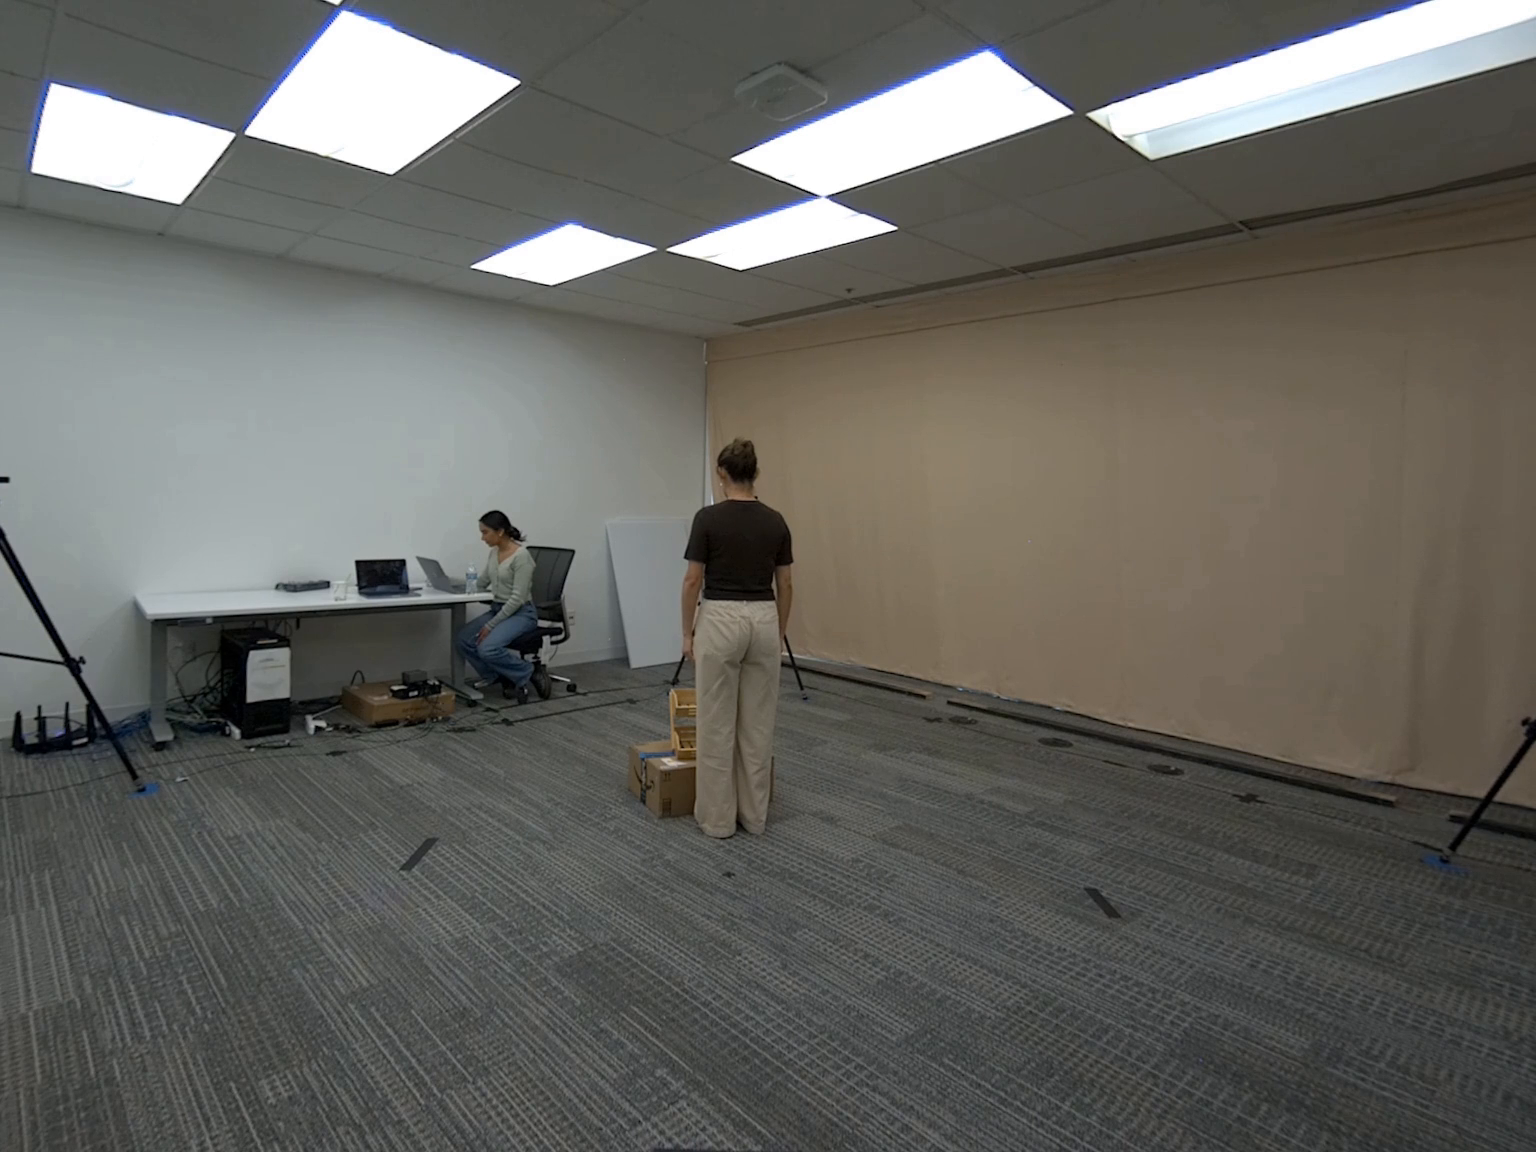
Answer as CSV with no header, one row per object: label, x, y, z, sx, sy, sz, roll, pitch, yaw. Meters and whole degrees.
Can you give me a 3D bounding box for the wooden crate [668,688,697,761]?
wooden crate,-0.299,0.679,3.925,0.321,0.273,0.305,2,3,-13
